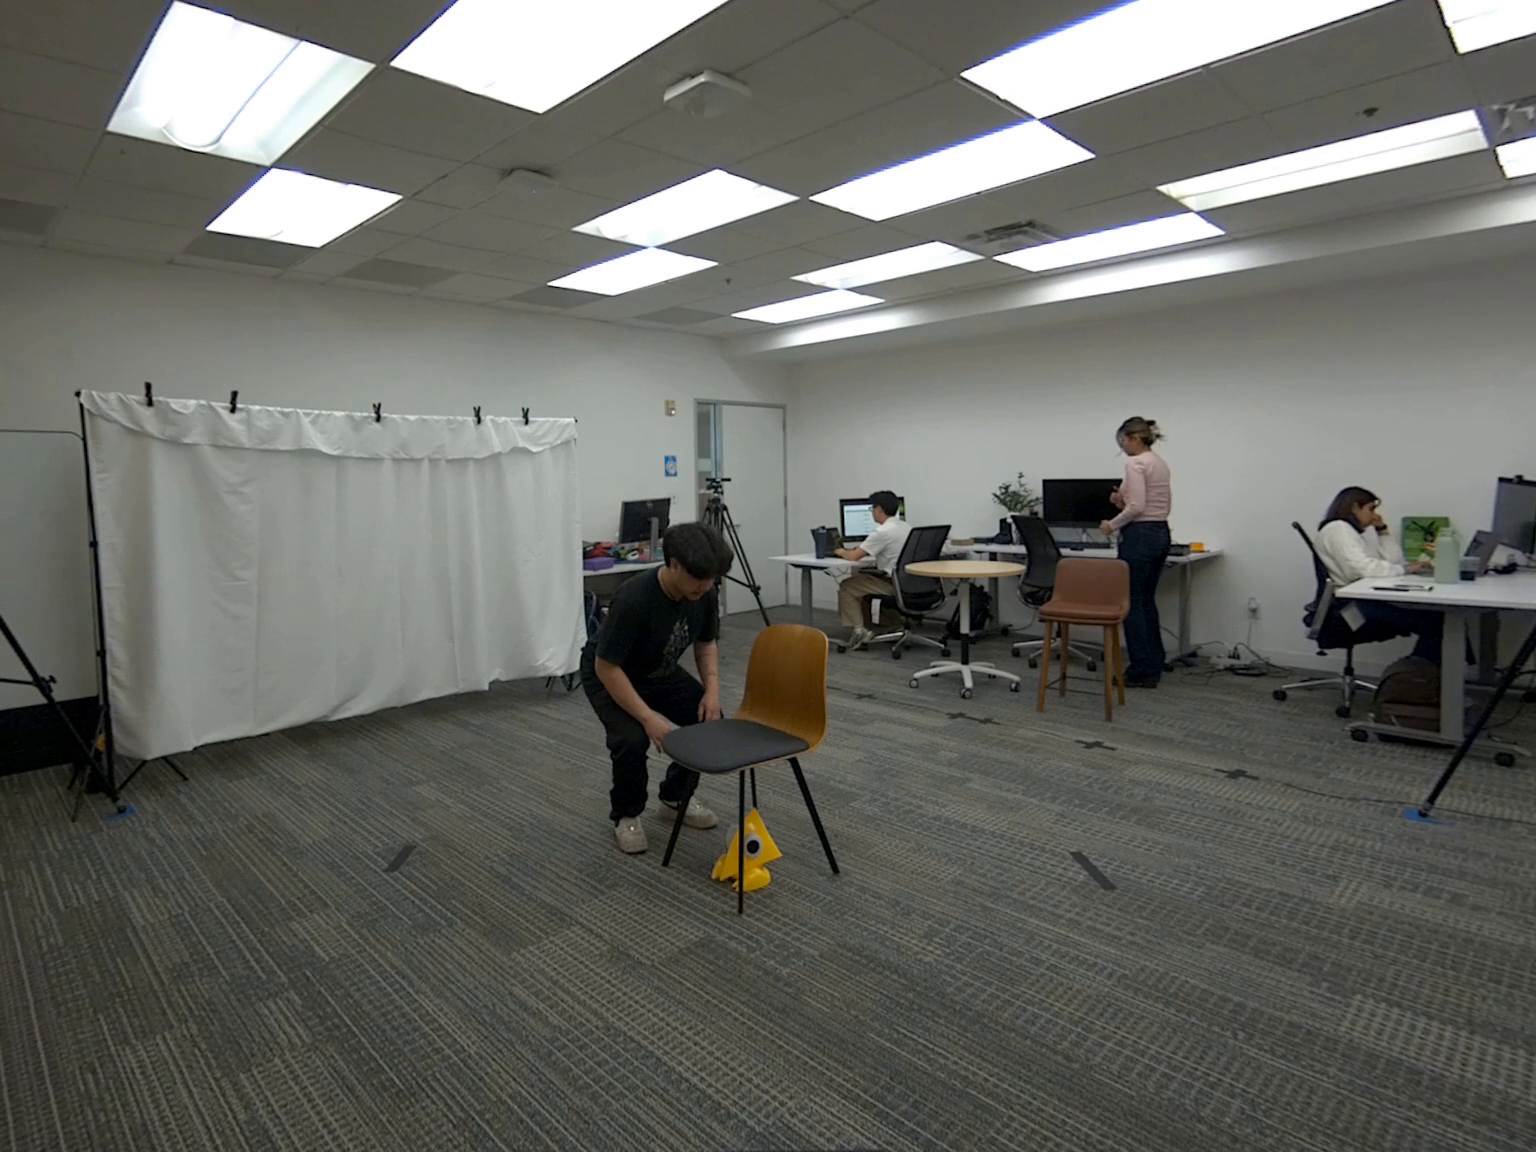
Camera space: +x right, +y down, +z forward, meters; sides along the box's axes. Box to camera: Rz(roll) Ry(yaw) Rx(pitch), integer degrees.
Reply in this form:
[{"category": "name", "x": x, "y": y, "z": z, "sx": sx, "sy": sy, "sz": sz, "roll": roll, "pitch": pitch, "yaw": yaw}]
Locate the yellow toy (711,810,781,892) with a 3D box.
[{"category": "yellow toy", "x": -0.084, "y": 0.945, "z": 2.990, "sx": 0.188, "sy": 0.230, "sz": 0.211, "roll": -5, "pitch": 6, "yaw": -42}]
